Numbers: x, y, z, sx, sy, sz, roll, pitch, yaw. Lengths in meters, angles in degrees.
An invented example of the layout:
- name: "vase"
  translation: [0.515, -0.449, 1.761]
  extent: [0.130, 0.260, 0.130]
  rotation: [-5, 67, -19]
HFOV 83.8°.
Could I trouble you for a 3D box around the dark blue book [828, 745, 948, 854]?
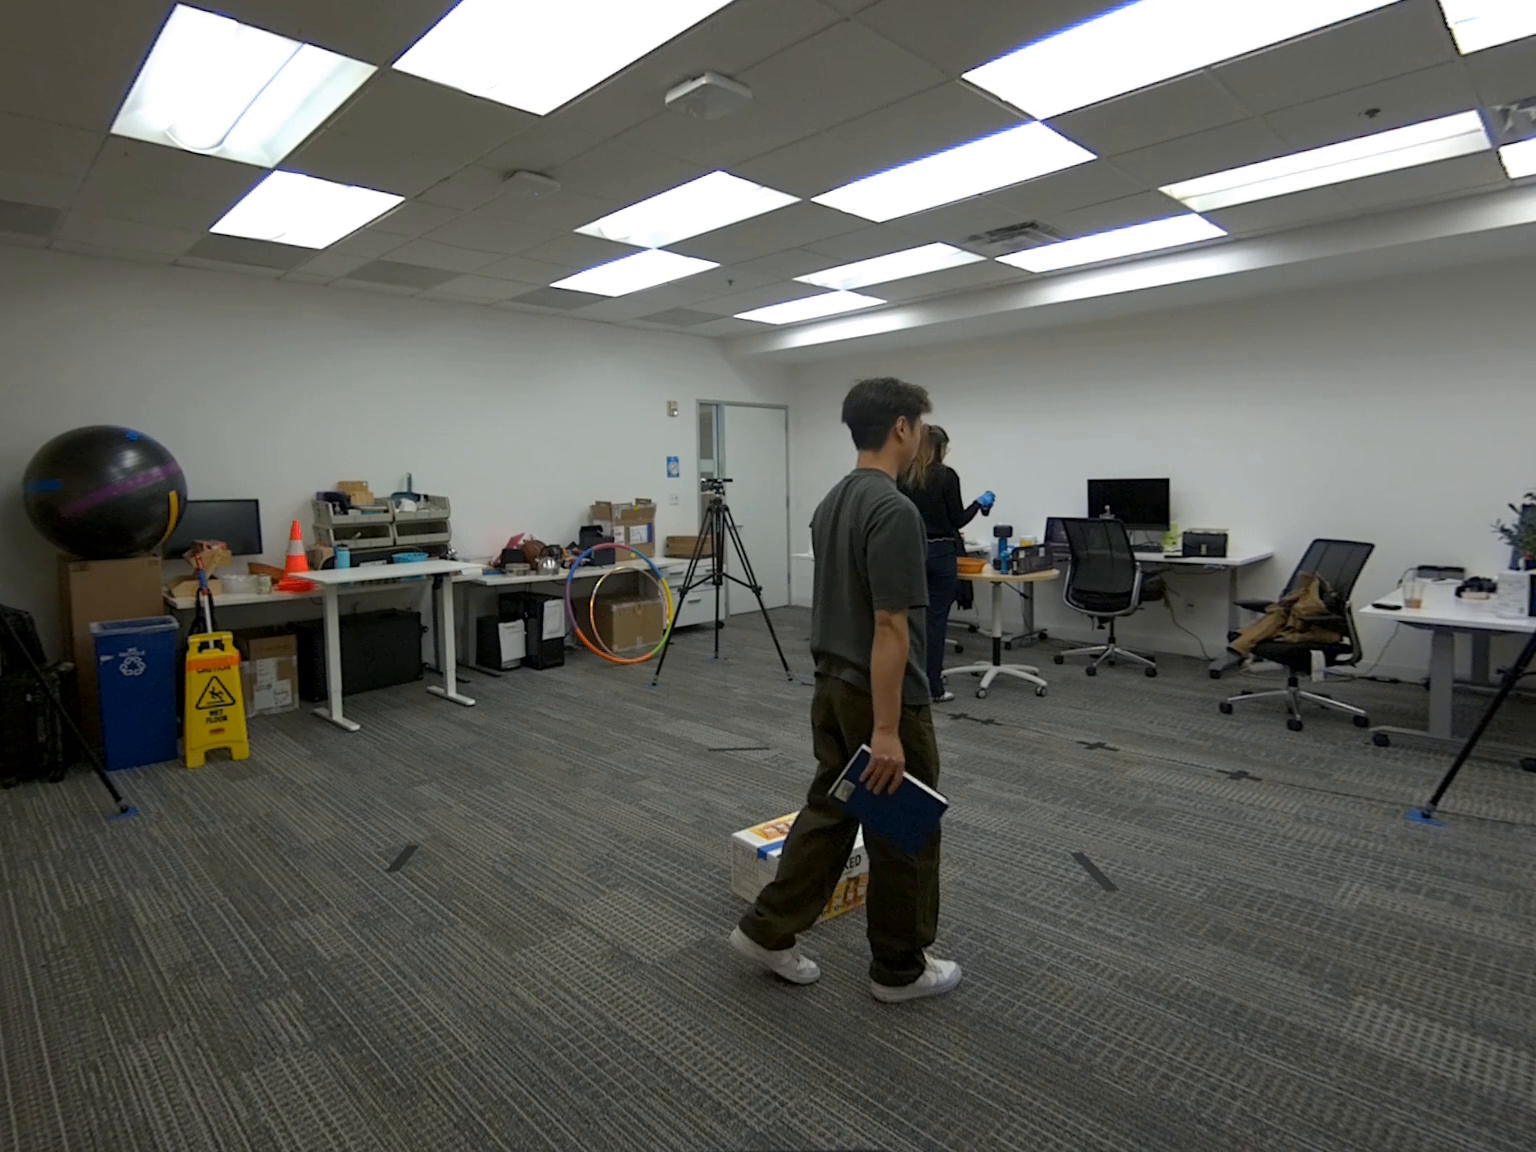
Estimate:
- name: "dark blue book"
  translation: [0.303, 0.544, 2.086]
  extent: [0.248, 0.163, 0.045]
  rotation: [32, 13, 8]
